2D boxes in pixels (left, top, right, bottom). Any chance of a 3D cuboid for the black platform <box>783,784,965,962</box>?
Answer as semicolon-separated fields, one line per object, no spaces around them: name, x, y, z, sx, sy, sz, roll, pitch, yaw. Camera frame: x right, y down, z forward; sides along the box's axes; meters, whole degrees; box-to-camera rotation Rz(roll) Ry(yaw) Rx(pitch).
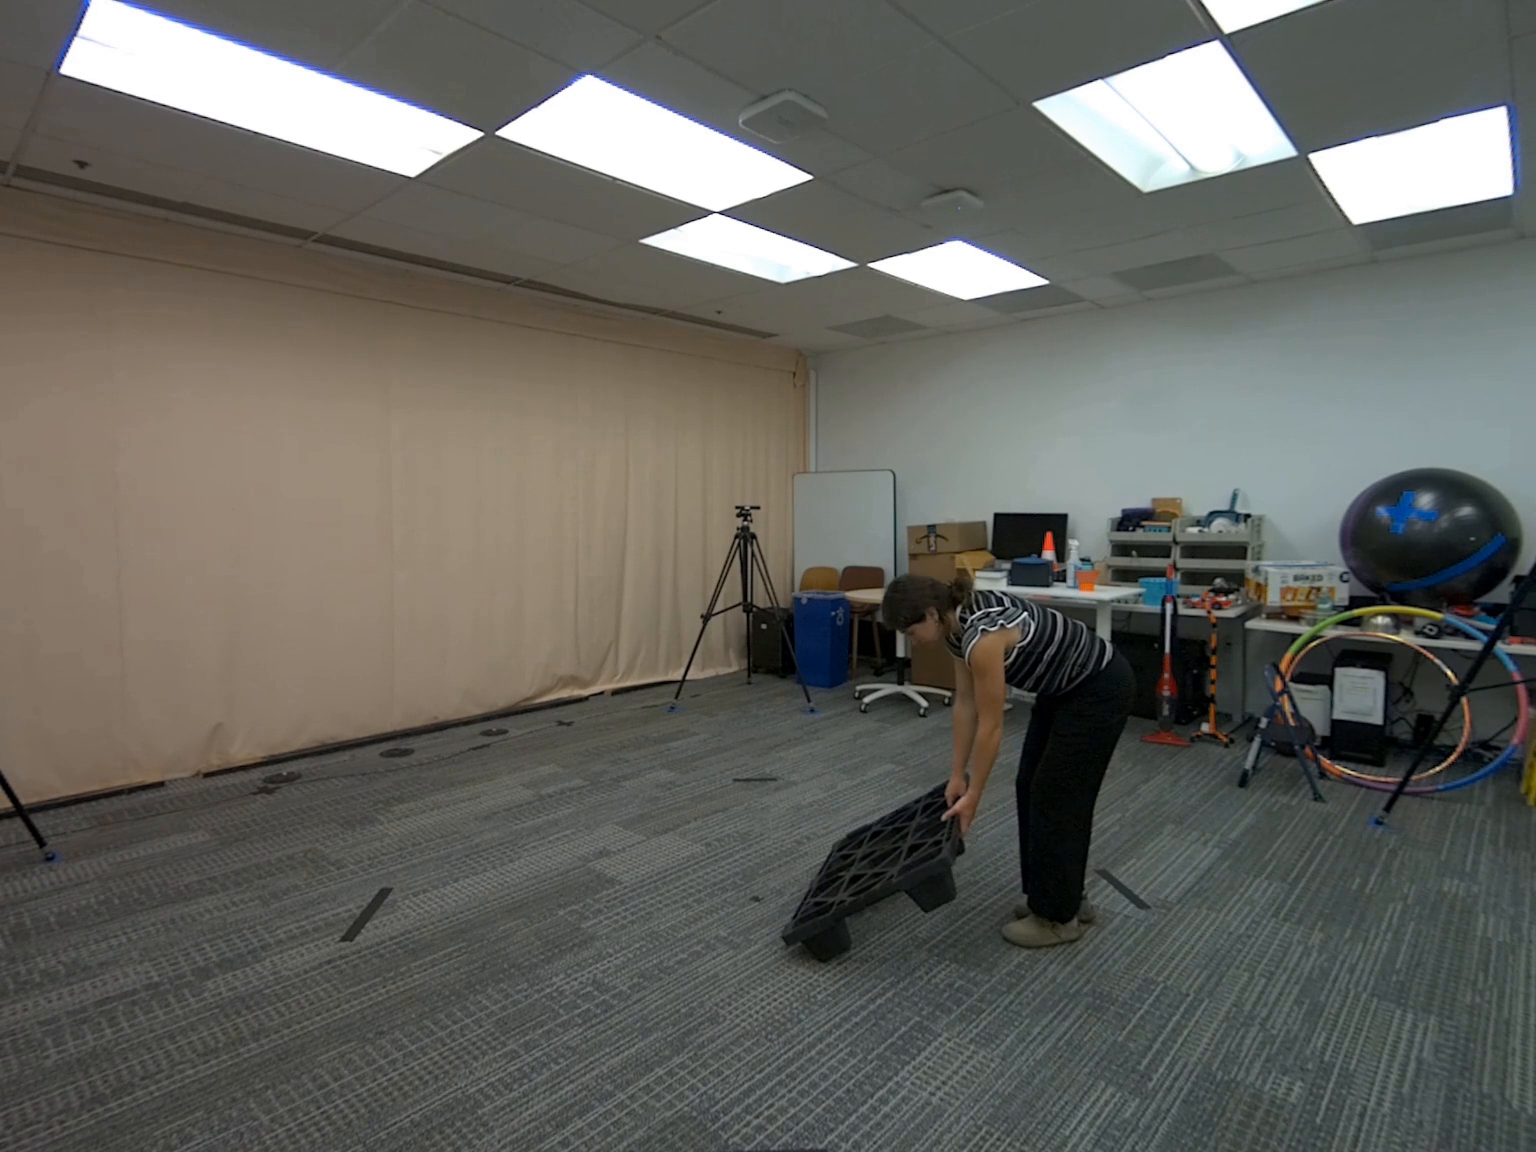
black platform;0.424;0.972;2.831;0.610;0.144;0.791;-35;-6;17
